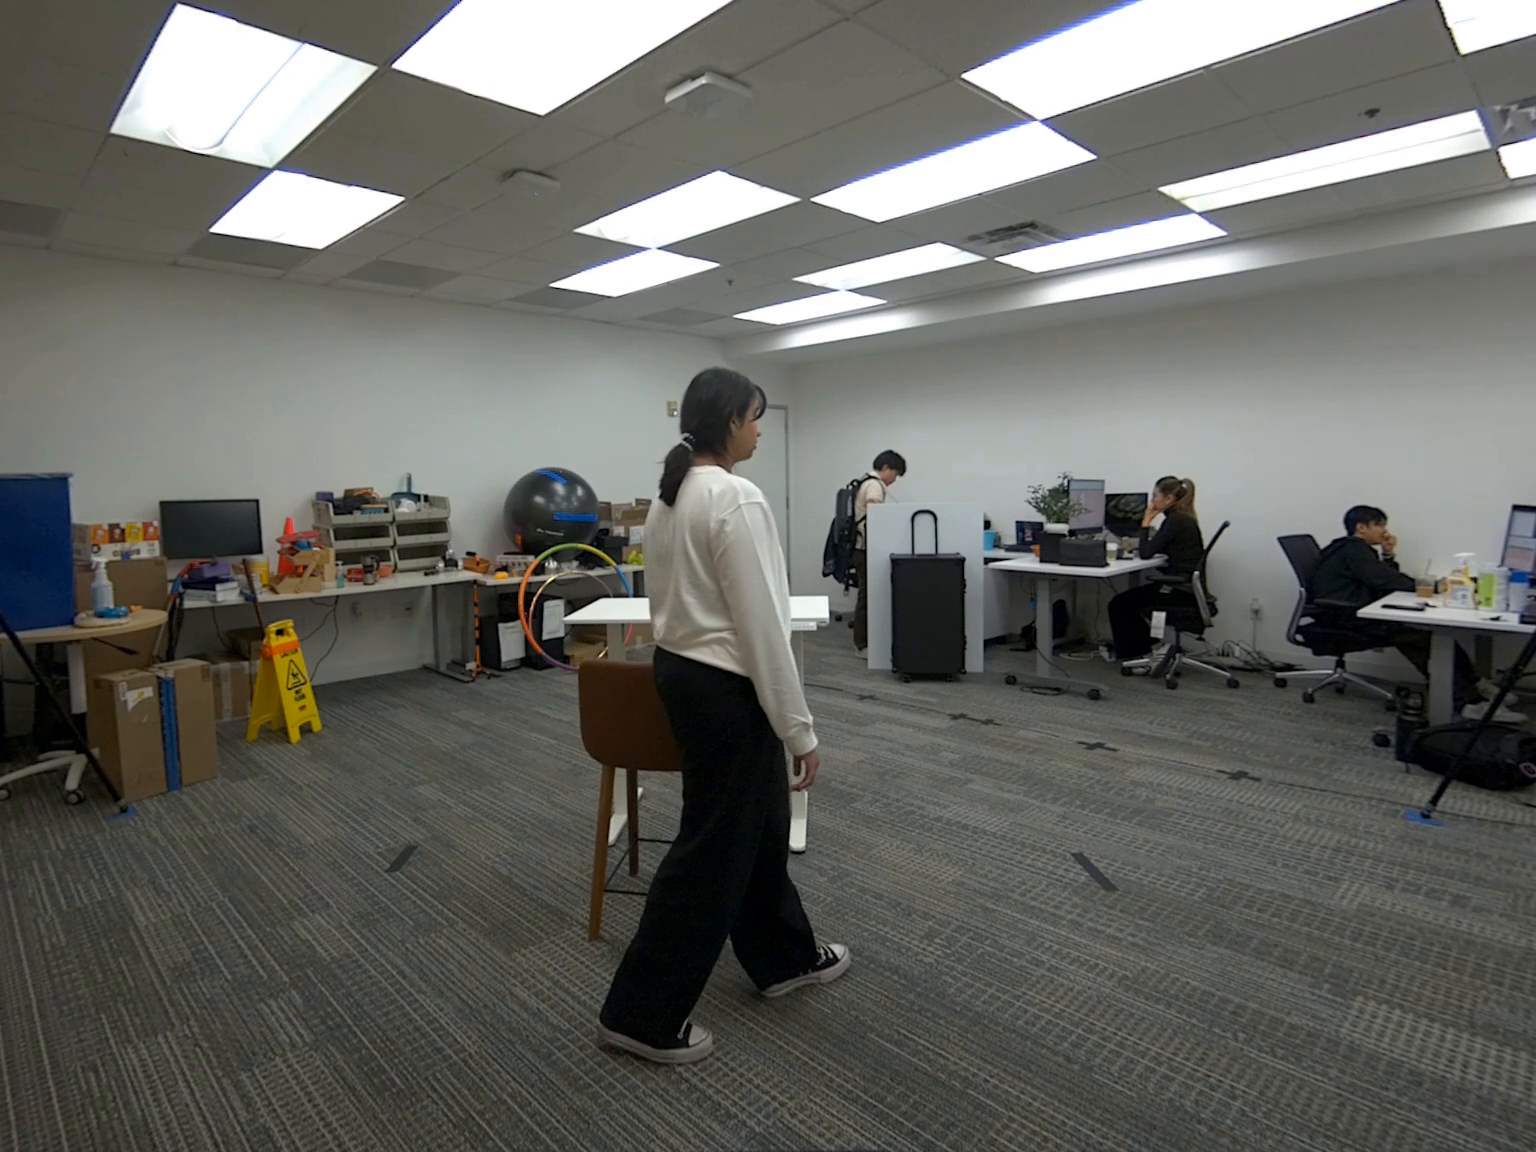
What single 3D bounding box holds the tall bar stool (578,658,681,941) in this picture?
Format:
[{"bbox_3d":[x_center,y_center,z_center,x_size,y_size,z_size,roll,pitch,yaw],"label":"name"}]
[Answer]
[{"bbox_3d":[-0.333,0.658,2.750,0.463,0.884,0.464,0,7,13],"label":"tall bar stool"}]
